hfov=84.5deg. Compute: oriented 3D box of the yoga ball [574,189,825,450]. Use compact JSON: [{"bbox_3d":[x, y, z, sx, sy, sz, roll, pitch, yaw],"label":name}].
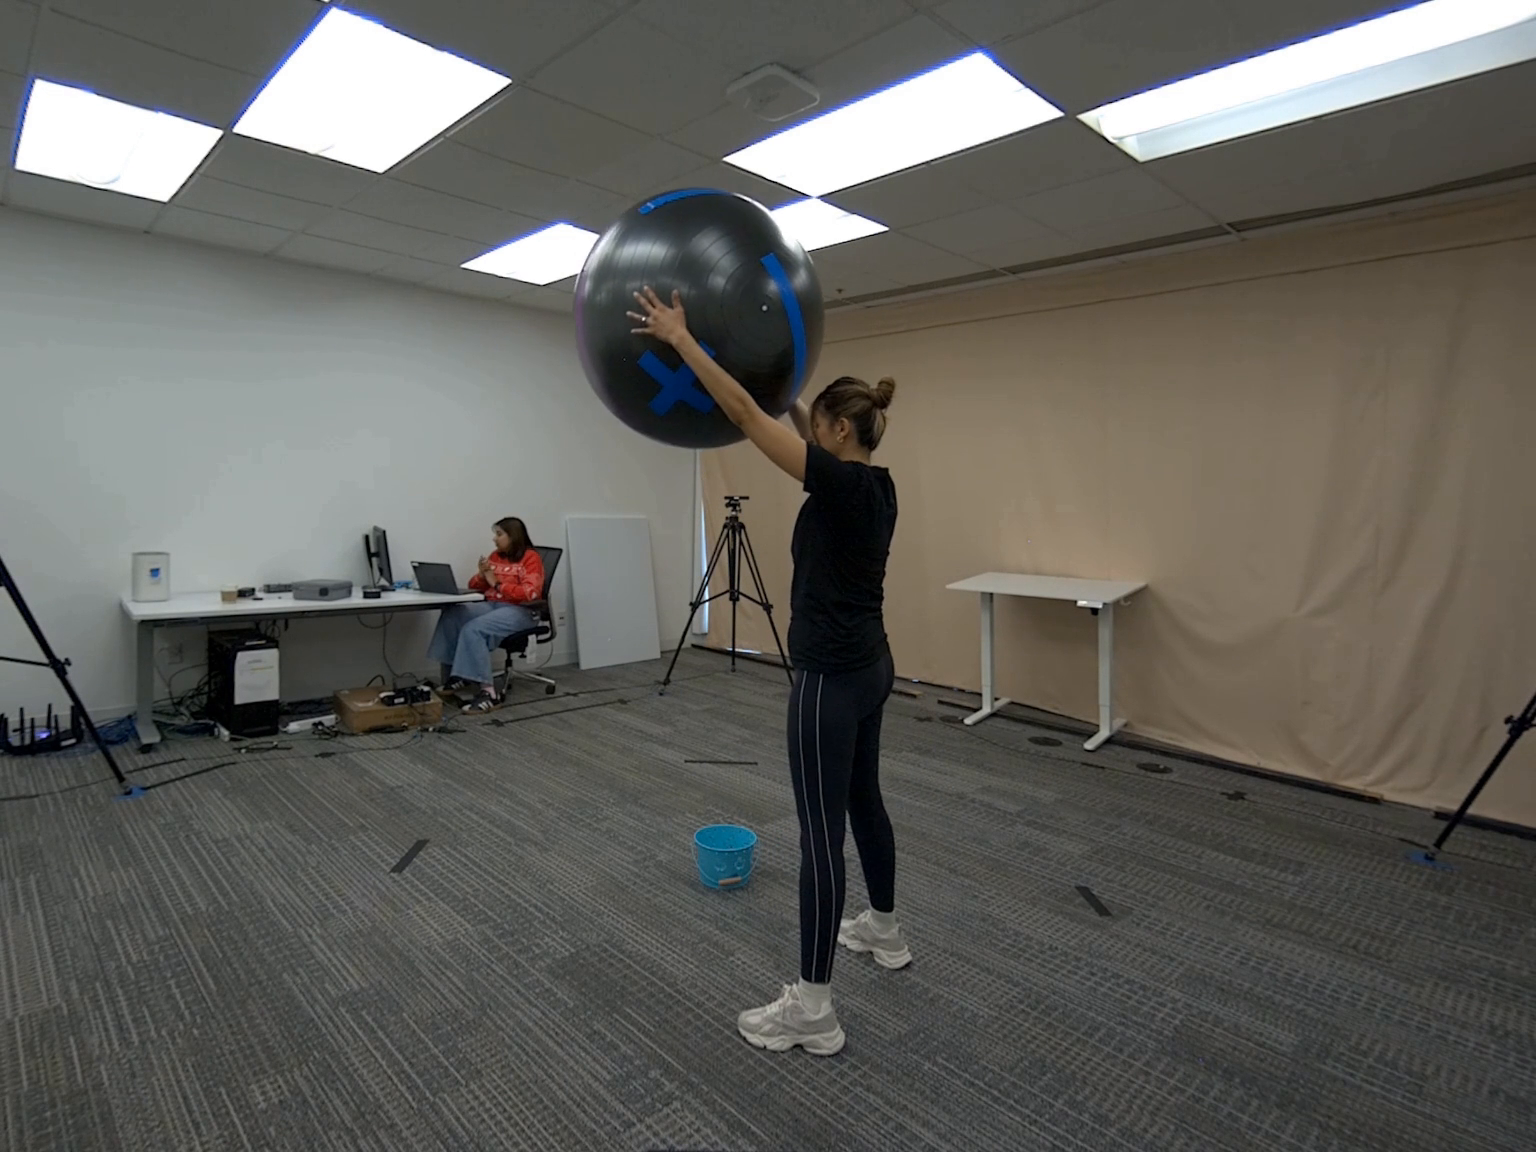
[{"bbox_3d":[-0.211,-0.751,2.544,0.757,0.756,0.761,1,4,-1],"label":"yoga ball"}]
